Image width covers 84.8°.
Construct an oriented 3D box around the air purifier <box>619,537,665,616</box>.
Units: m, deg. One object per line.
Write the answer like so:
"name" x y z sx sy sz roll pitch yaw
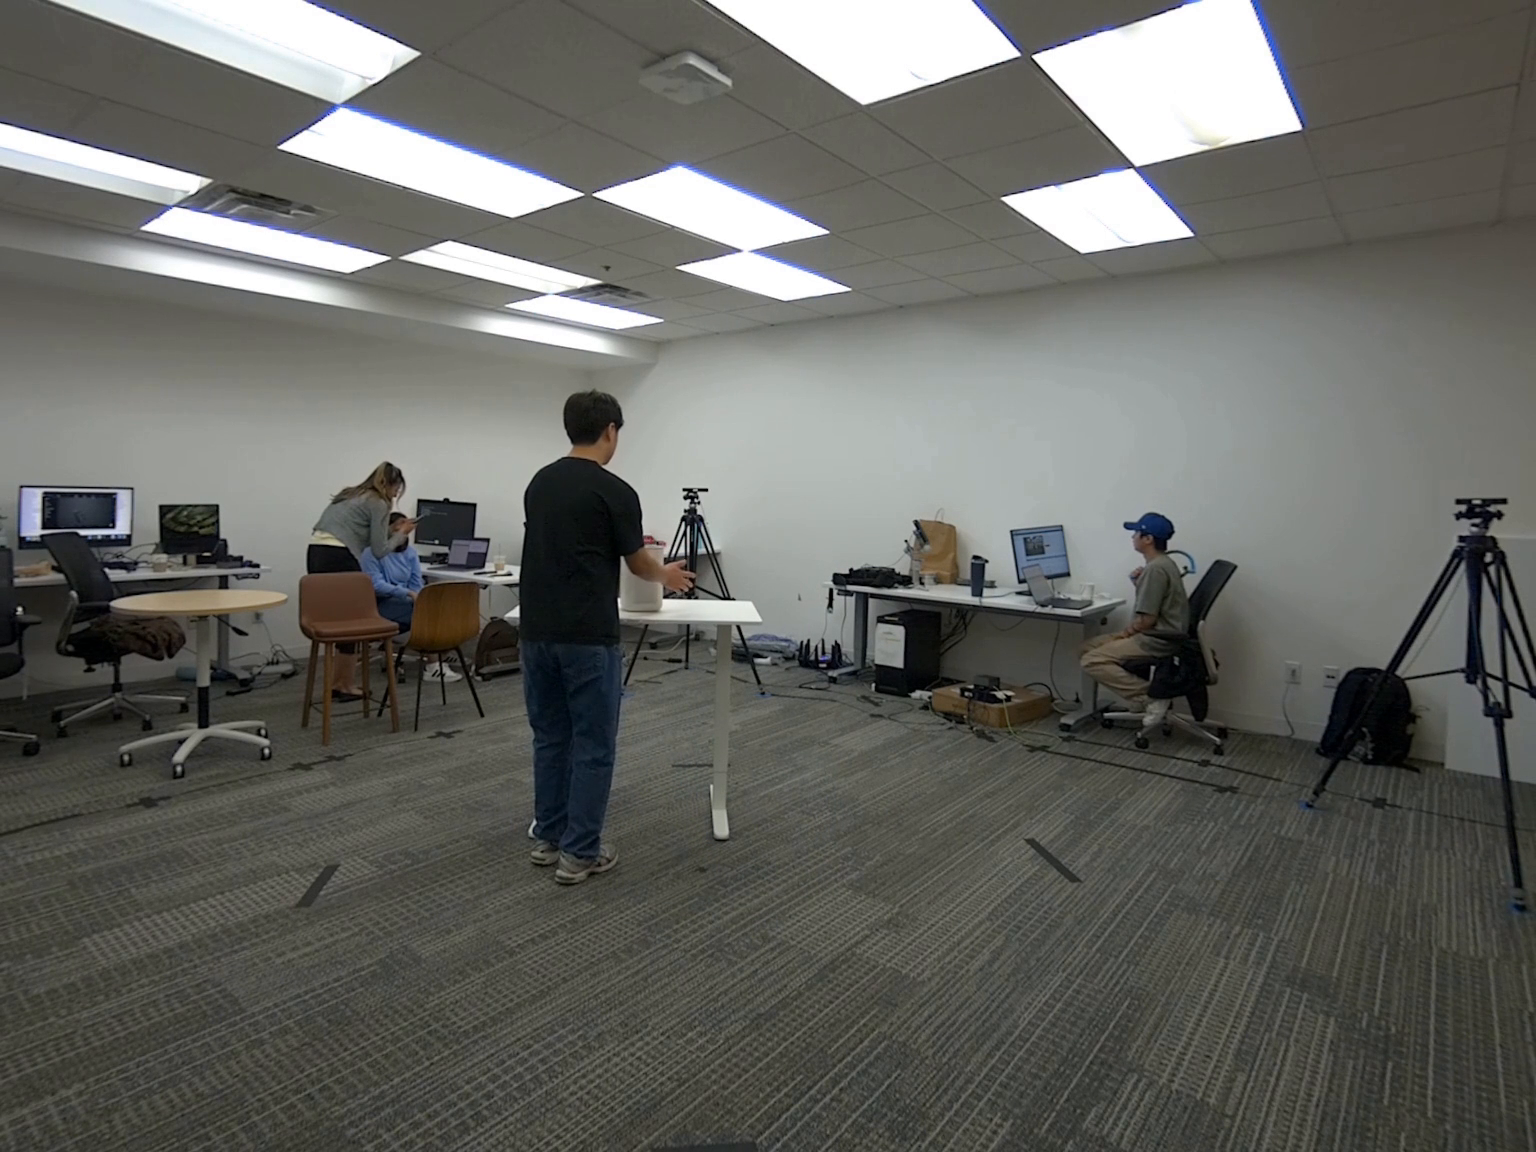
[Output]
"air purifier" -0.536 0.012 3.561 0.169 0.265 0.174 2 3 -14
